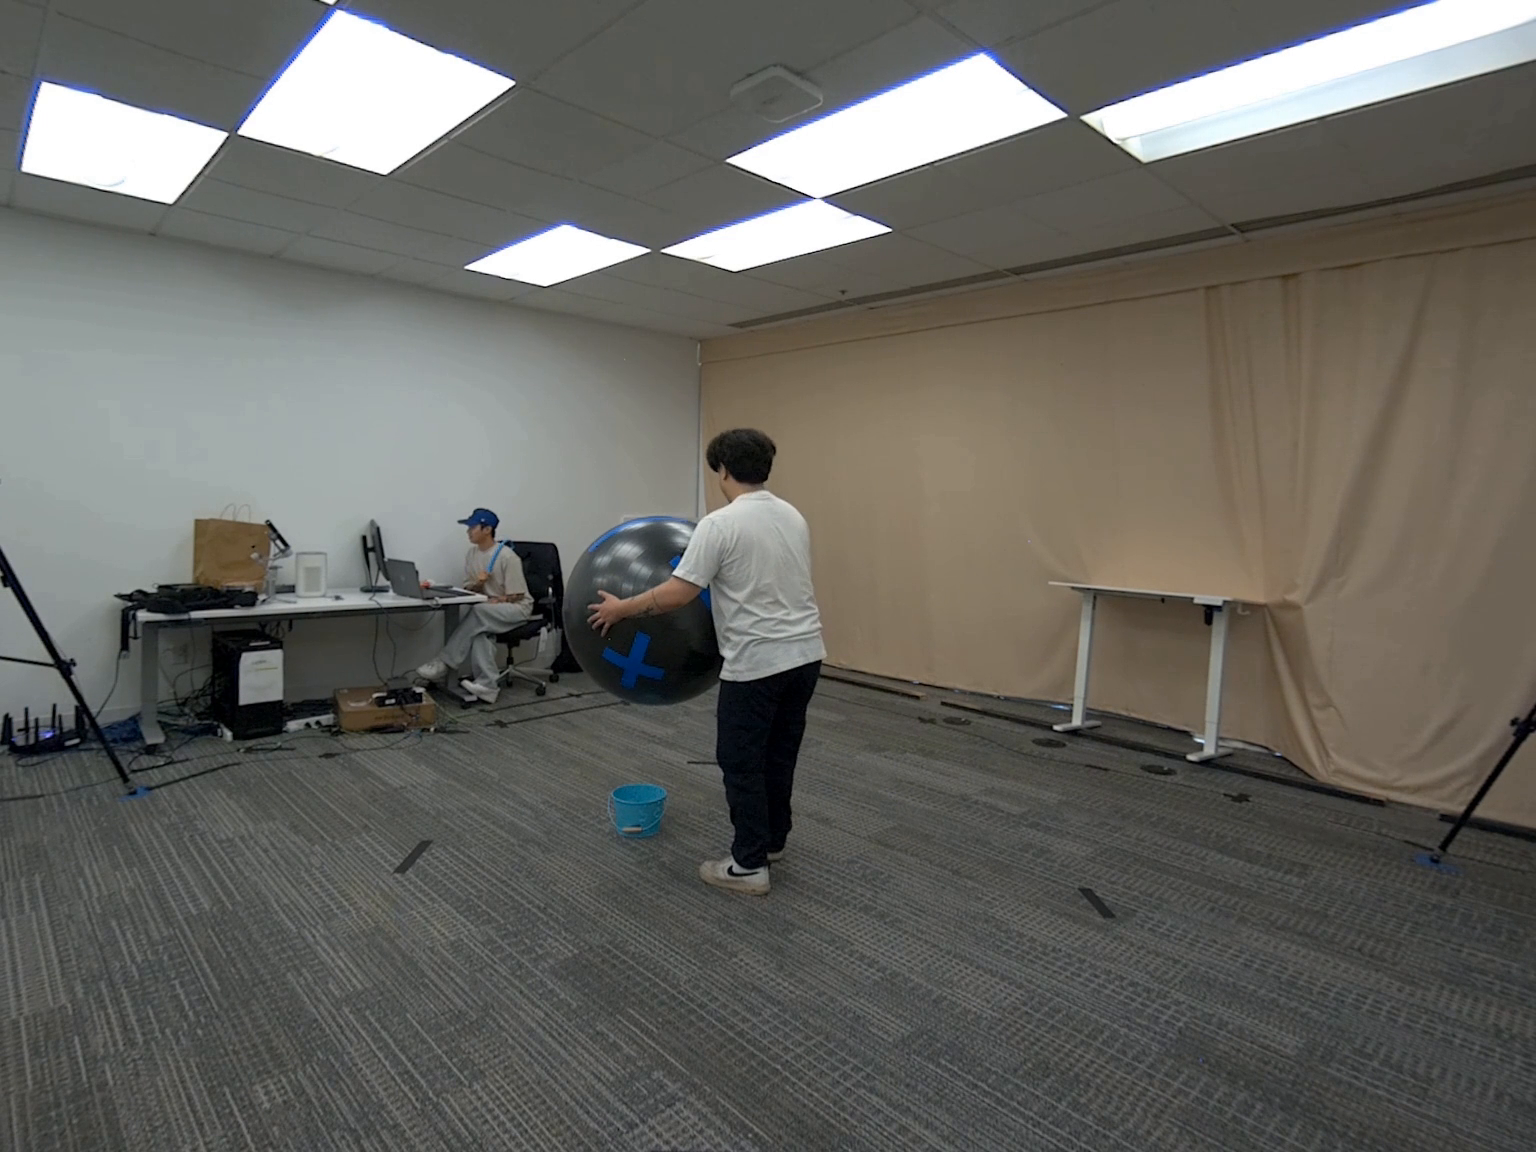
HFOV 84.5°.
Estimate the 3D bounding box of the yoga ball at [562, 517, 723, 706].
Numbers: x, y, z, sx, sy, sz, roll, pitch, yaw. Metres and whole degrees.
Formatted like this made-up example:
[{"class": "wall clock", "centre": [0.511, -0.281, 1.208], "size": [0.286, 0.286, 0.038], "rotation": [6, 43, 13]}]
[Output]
[{"class": "yoga ball", "centre": [-0.458, 0.137, 3.414], "size": [0.757, 0.756, 0.760], "rotation": [1, 4, -1]}]
